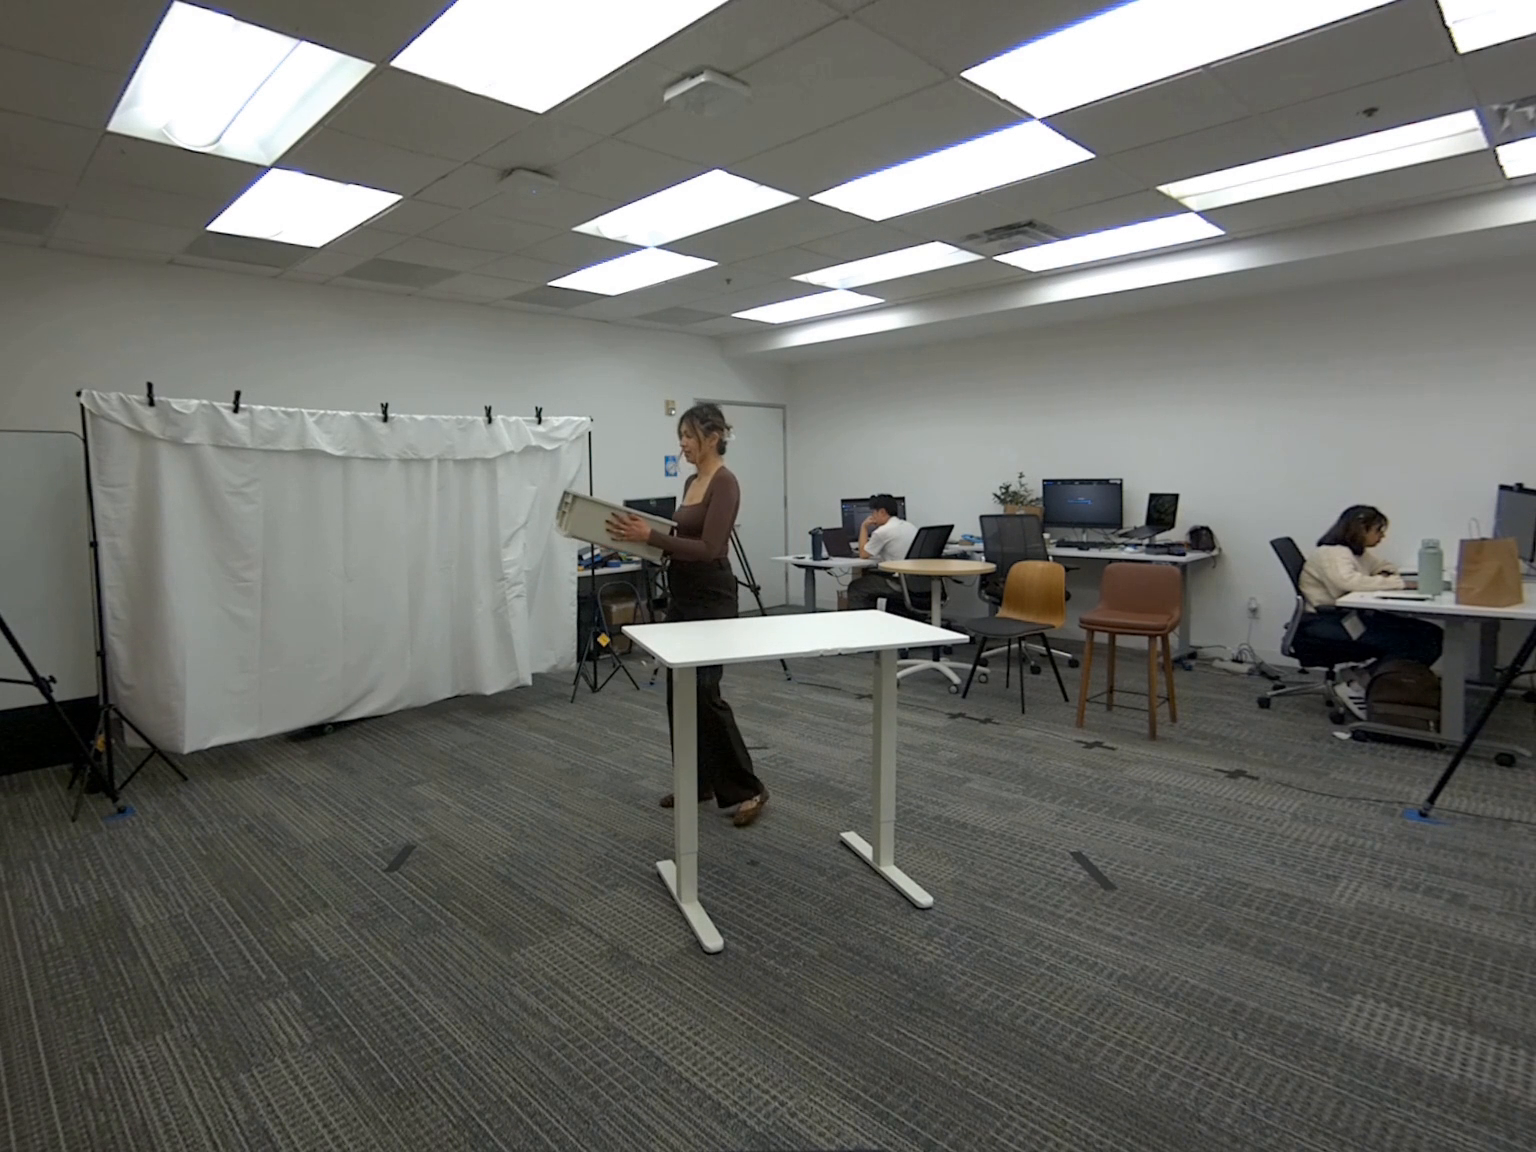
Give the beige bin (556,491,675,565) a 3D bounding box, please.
[{"bbox_3d":[-0.635,-0.205,3.515,0.413,0.189,0.386,17,2,-20],"label":"beige bin"}]
